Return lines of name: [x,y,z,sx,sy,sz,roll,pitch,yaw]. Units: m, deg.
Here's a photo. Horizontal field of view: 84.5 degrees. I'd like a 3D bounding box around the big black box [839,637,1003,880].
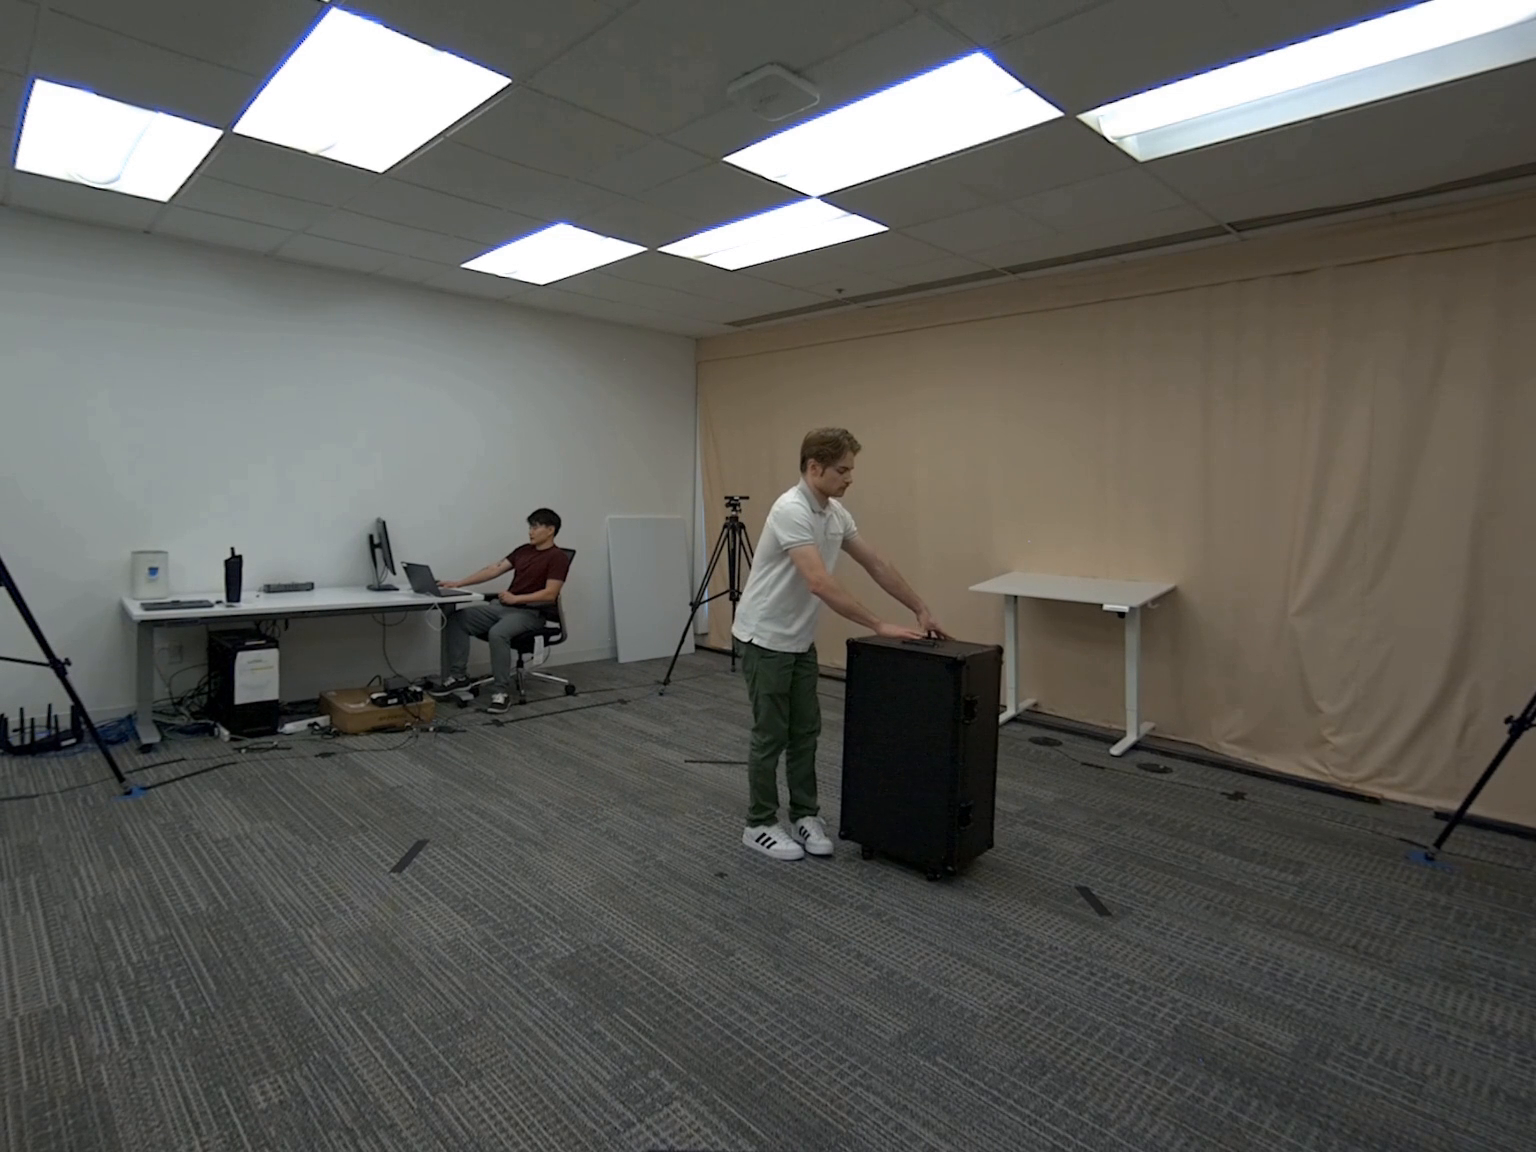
big black box: [0.576,0.684,3.262,0.536,0.866,0.376,4,4,38]
